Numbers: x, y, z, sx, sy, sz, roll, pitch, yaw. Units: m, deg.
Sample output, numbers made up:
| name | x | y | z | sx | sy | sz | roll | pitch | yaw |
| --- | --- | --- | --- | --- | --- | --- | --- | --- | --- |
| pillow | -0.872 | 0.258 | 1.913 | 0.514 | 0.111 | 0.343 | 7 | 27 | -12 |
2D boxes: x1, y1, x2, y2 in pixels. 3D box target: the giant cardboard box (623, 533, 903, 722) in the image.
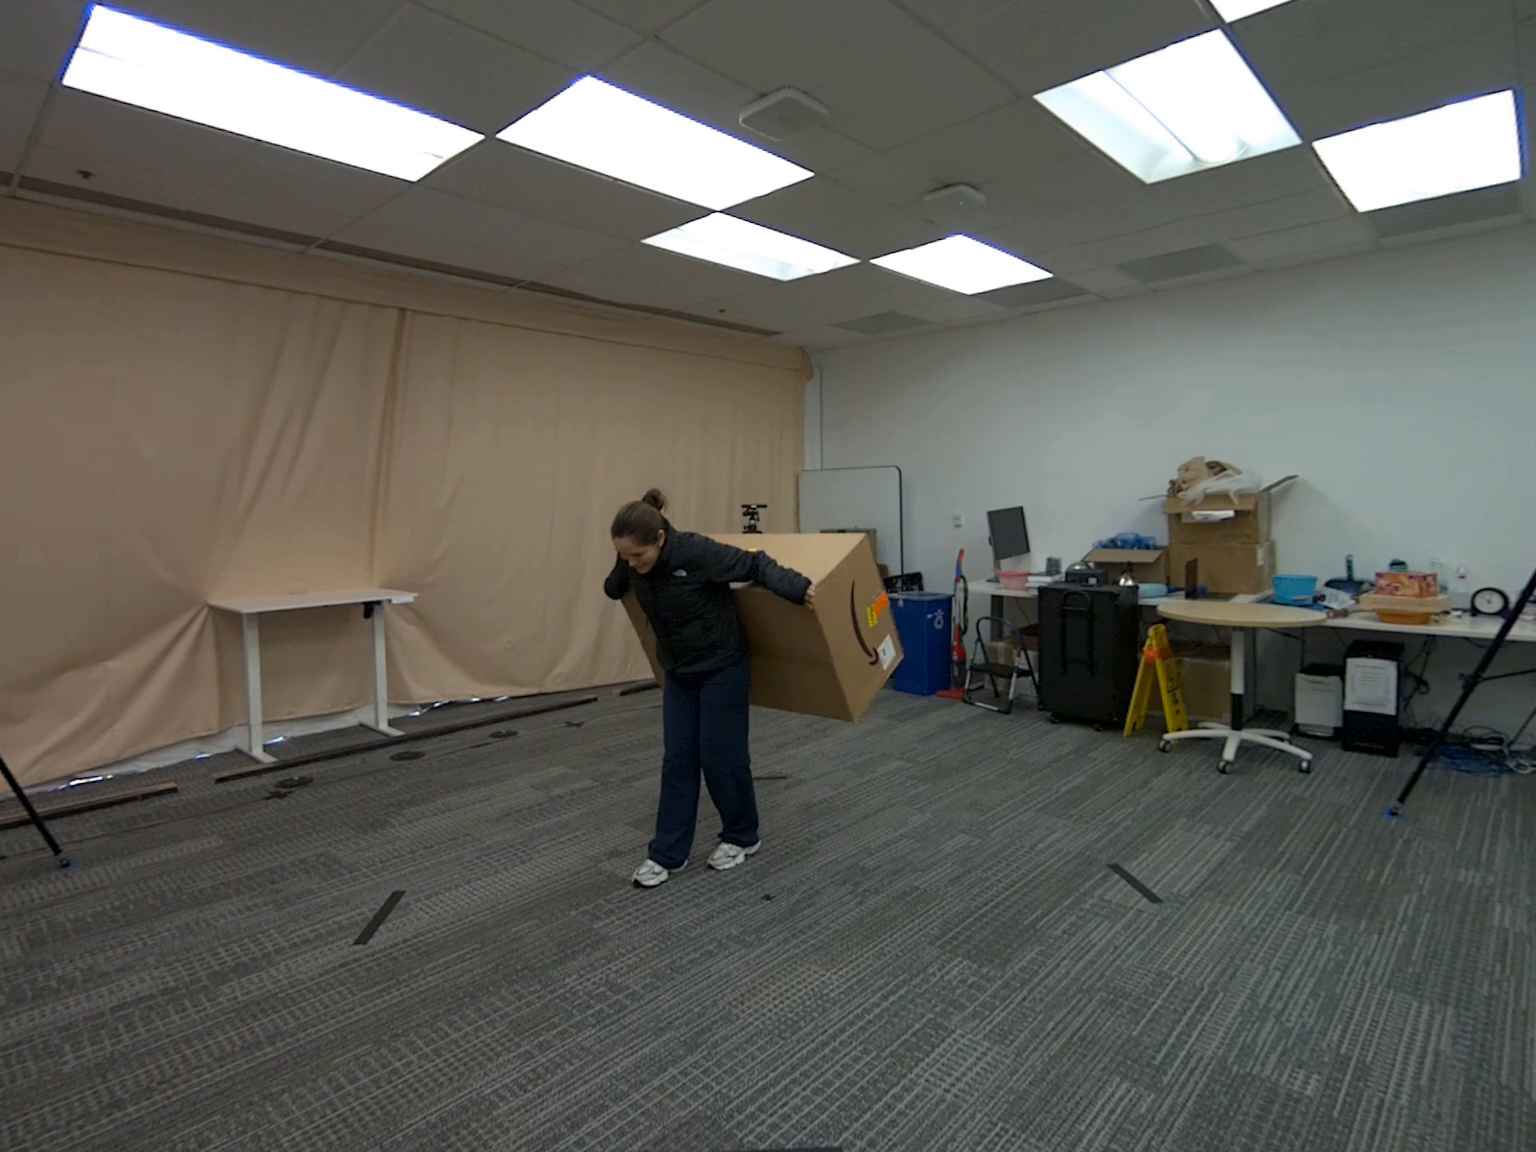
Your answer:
| name | x | y | z | sx | sy | sz | roll | pitch | yaw |
| --- | --- | --- | --- | --- | --- | --- | --- | --- | --- |
| giant cardboard box | -0.040 | 0.170 | 3.475 | 1.059 | 0.566 | 0.421 | 2 | 32 | 40 |
